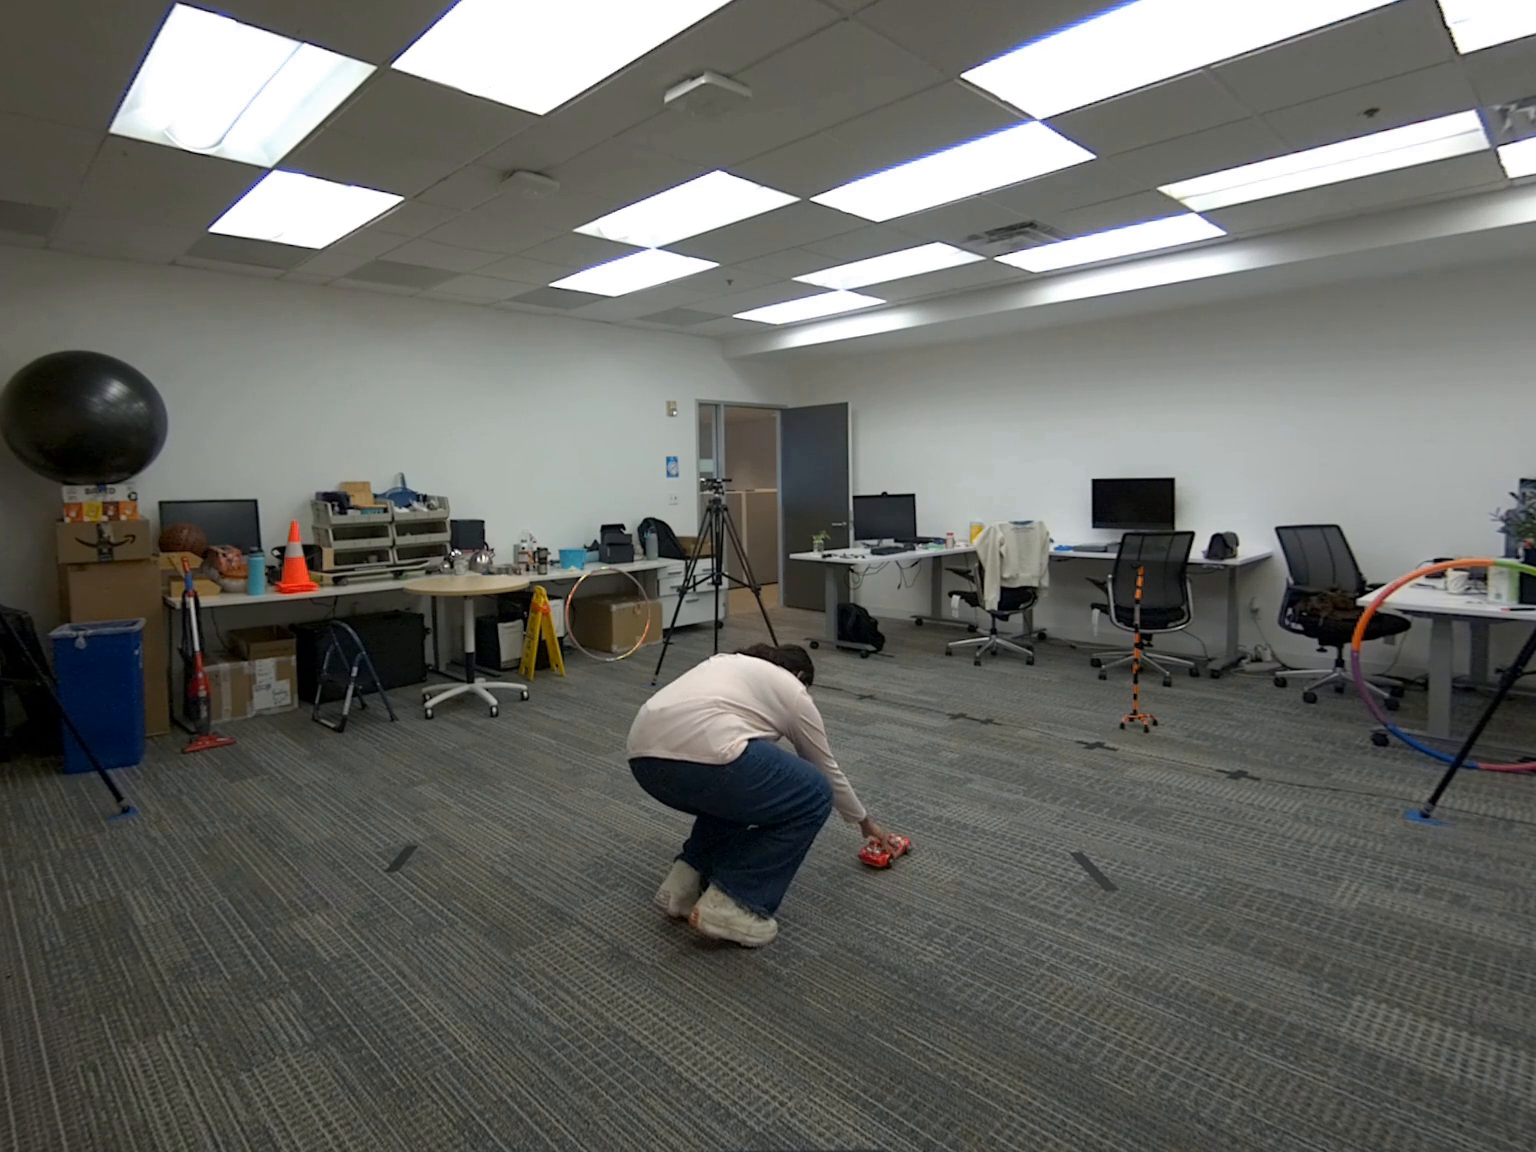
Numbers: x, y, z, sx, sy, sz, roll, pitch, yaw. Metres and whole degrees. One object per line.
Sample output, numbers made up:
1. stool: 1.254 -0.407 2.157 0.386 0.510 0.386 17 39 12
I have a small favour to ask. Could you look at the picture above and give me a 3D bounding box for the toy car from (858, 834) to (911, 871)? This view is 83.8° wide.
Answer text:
1. toy car: 0.427 1.005 3.116 0.134 0.083 0.246 5 -1 37
